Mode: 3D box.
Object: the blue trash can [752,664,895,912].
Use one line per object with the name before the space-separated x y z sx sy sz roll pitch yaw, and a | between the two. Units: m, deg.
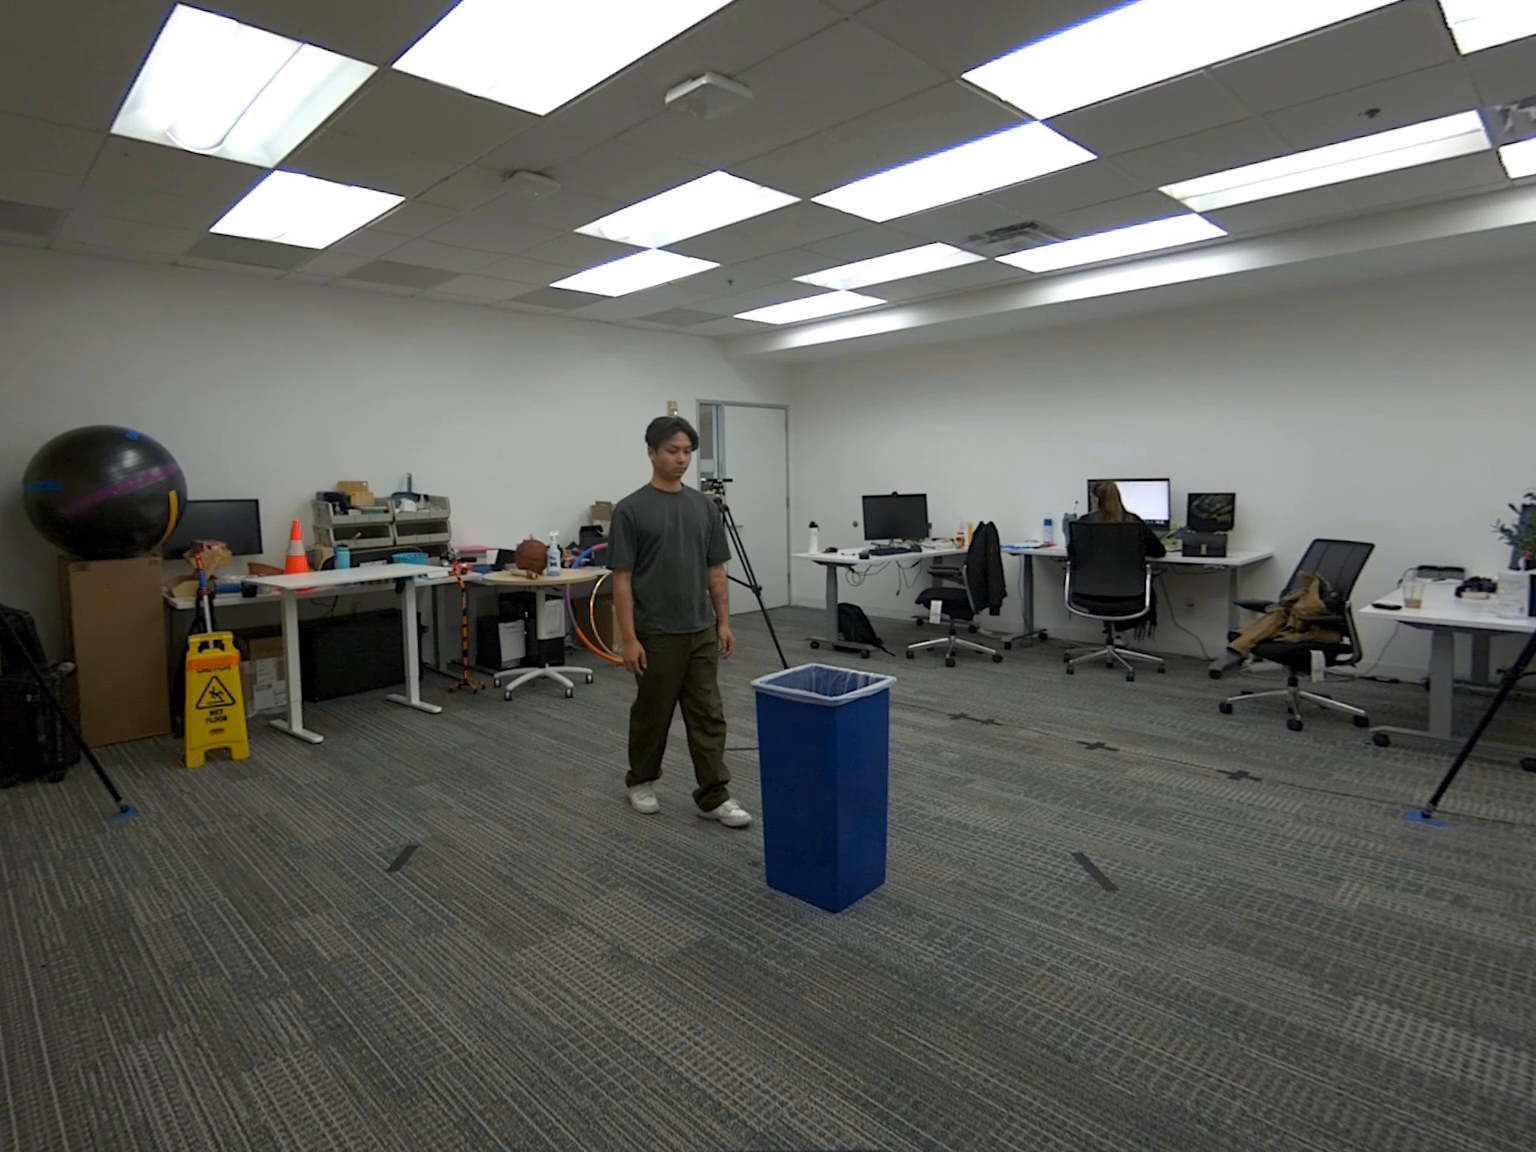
blue trash can | 0.203 0.704 2.916 0.385 0.711 0.368 2 5 41
